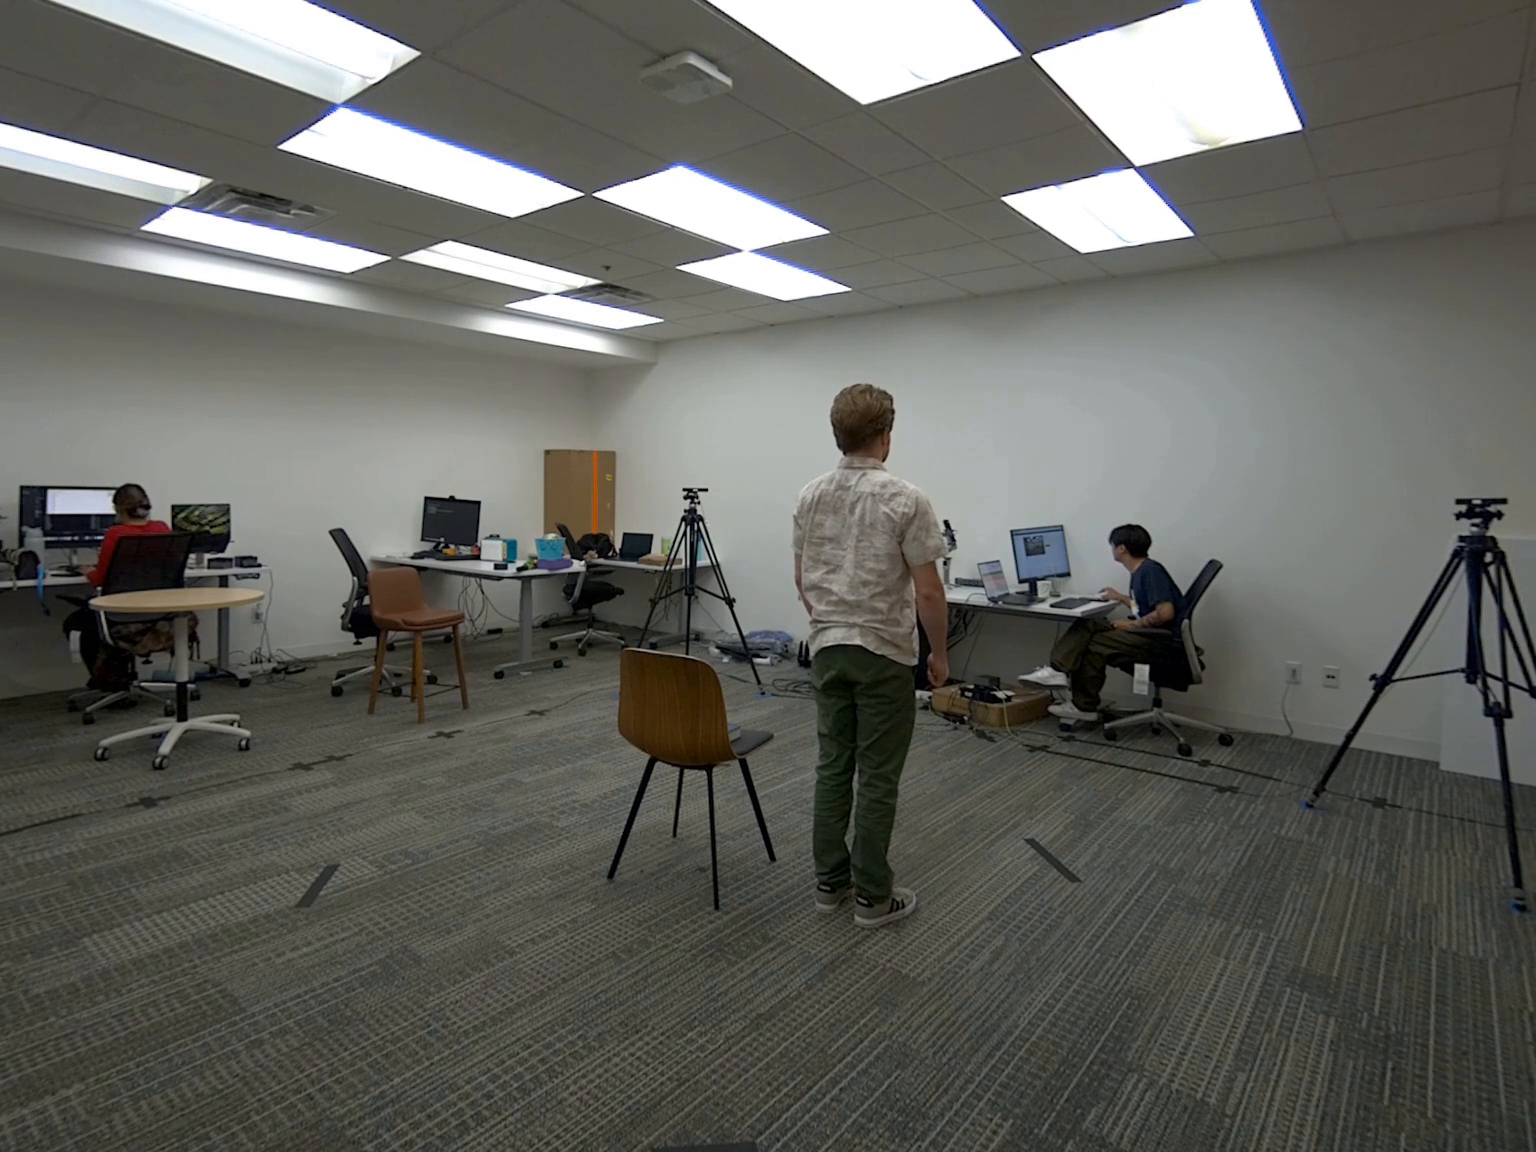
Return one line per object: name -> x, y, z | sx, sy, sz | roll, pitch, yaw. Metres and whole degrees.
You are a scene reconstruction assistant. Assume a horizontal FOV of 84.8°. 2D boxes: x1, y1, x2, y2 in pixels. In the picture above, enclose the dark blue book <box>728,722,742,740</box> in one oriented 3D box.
dark blue book -> -0.252, 0.561, 3.110 | 0.253, 0.045, 0.159 | 5, 10, 37
